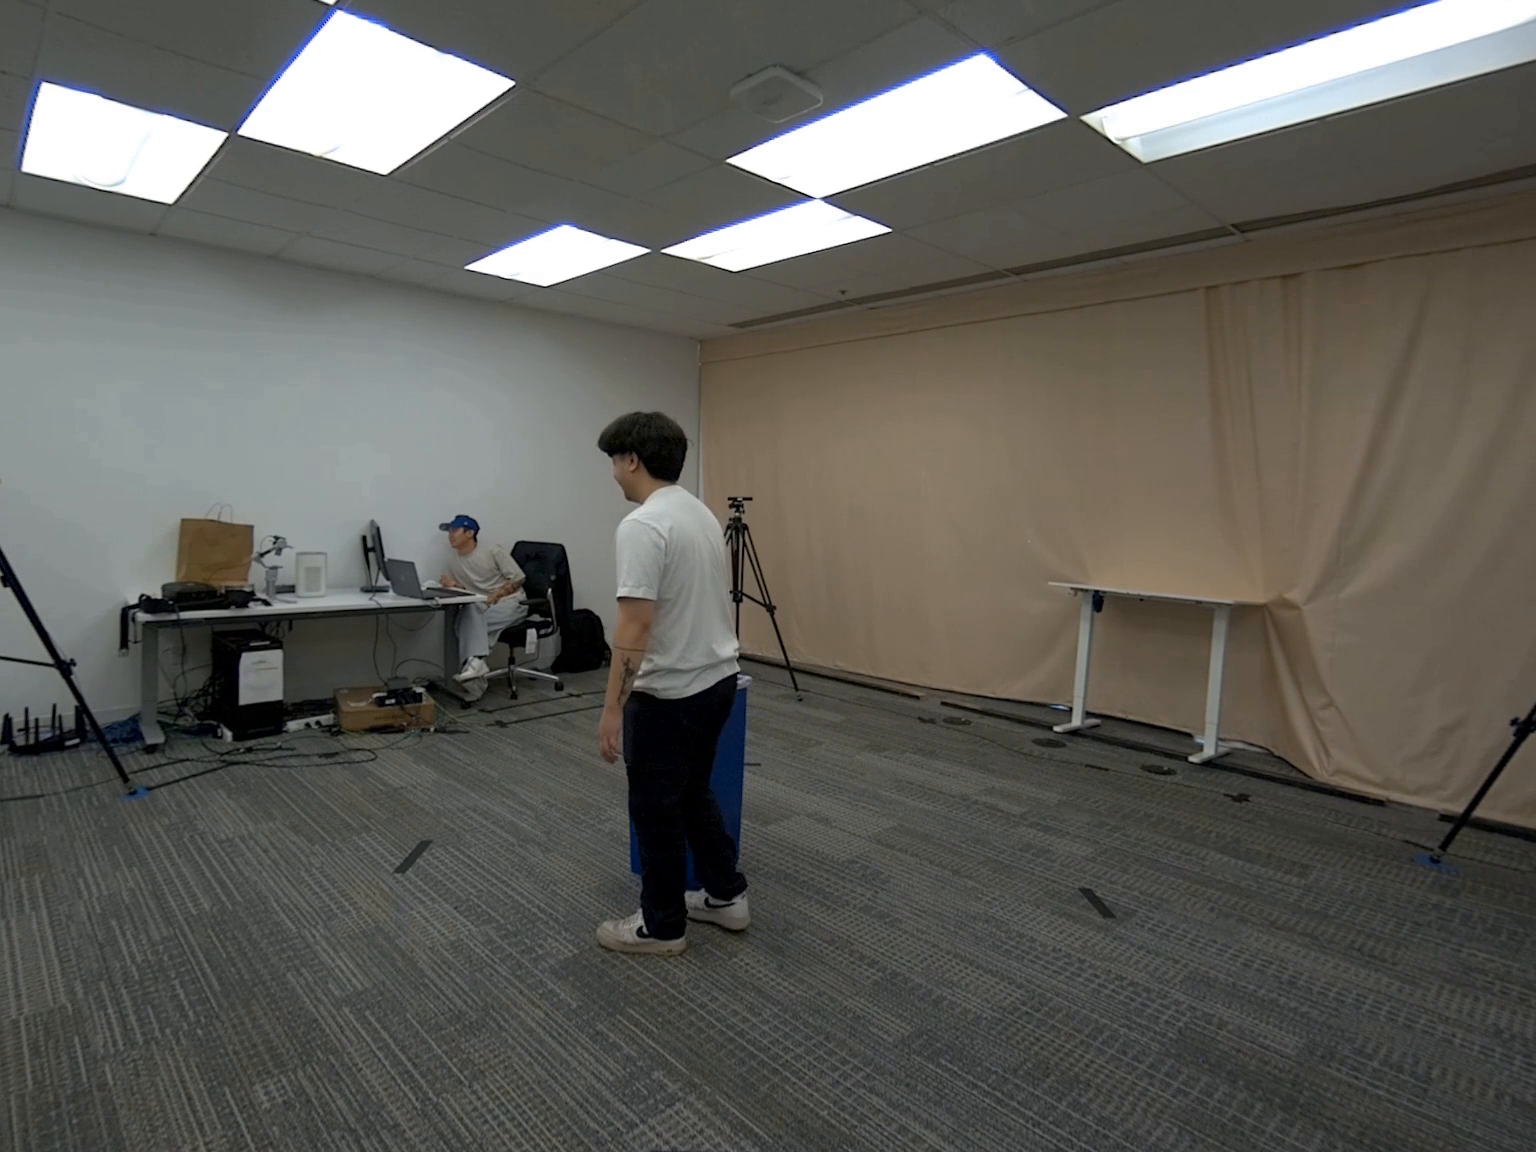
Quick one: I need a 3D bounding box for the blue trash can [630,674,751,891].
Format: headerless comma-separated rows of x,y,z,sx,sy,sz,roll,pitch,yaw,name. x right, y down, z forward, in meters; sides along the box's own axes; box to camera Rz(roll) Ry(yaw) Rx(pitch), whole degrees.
-0.318,0.742,3.155,0.382,0.712,0.370,4,4,30,blue trash can
